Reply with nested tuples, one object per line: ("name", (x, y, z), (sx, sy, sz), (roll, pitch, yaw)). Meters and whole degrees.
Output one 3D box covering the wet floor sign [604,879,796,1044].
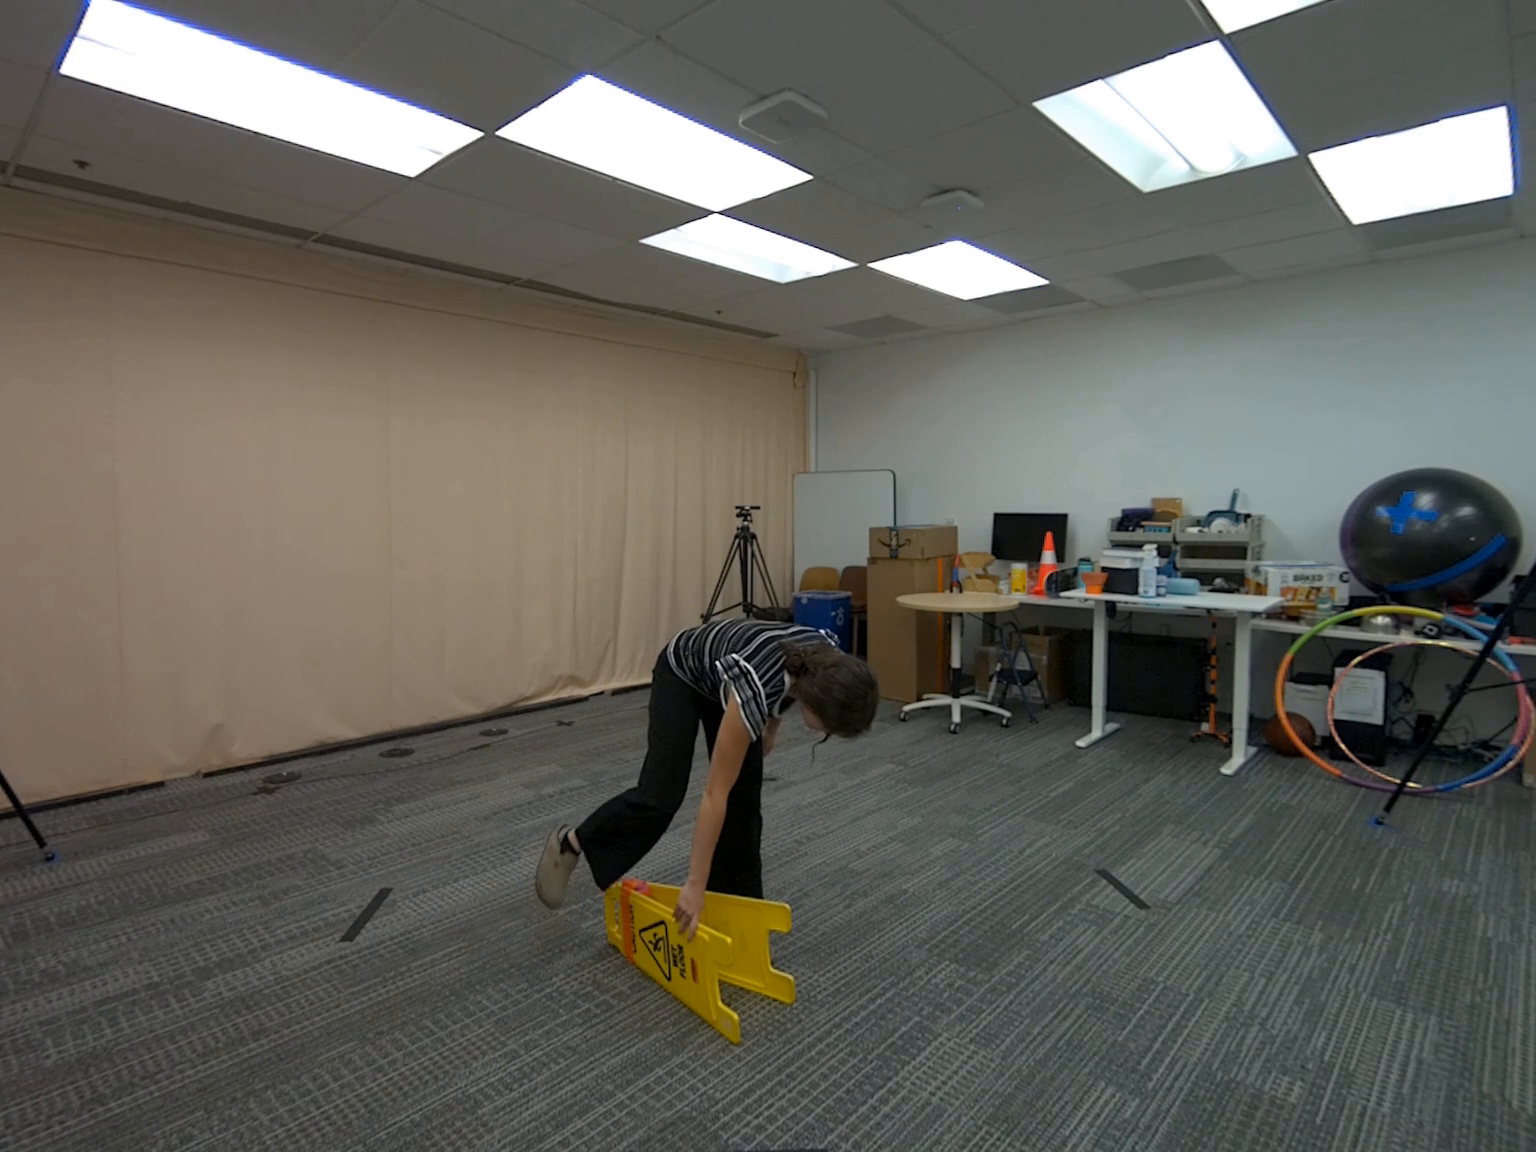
("wet floor sign", (-0.260, 1.066, 2.466), (0.666, 0.282, 0.281), (0, 5, 40))
